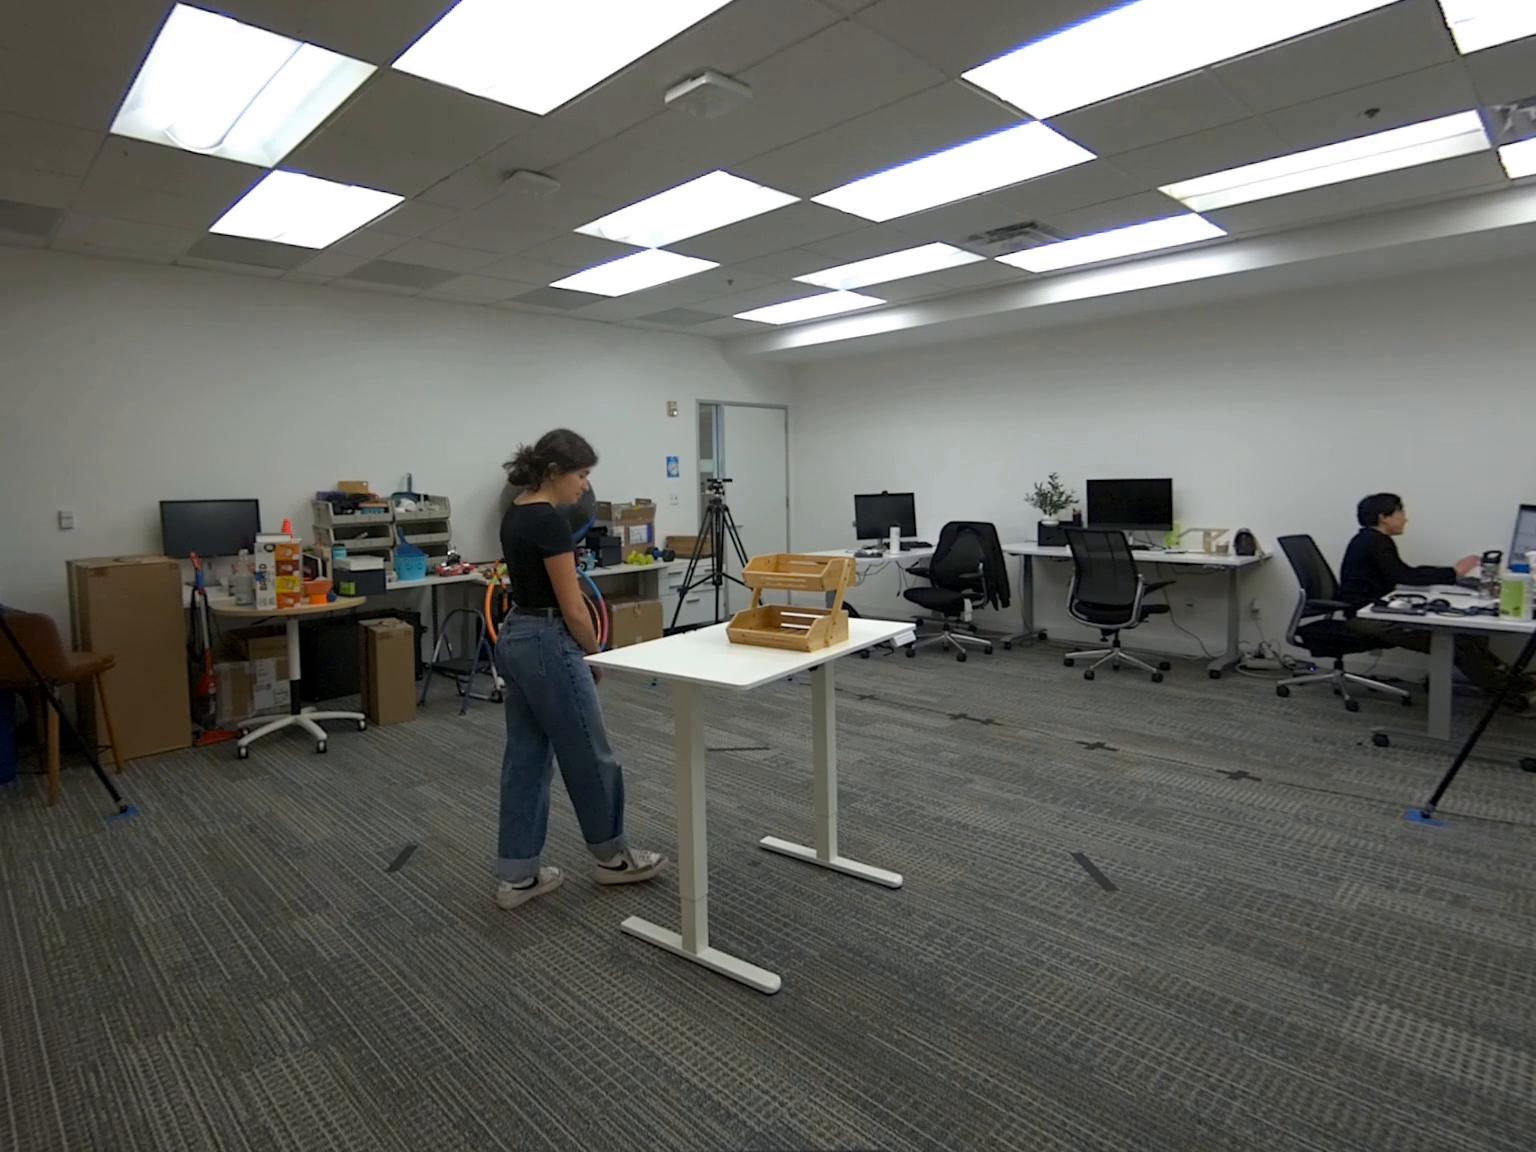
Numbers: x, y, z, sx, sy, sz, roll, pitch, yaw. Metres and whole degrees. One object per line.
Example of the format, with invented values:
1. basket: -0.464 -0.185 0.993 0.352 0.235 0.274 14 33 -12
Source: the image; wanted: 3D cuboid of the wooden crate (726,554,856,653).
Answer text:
1. wooden crate: 0.074 0.073 2.706 0.334 0.272 0.295 3 6 35
